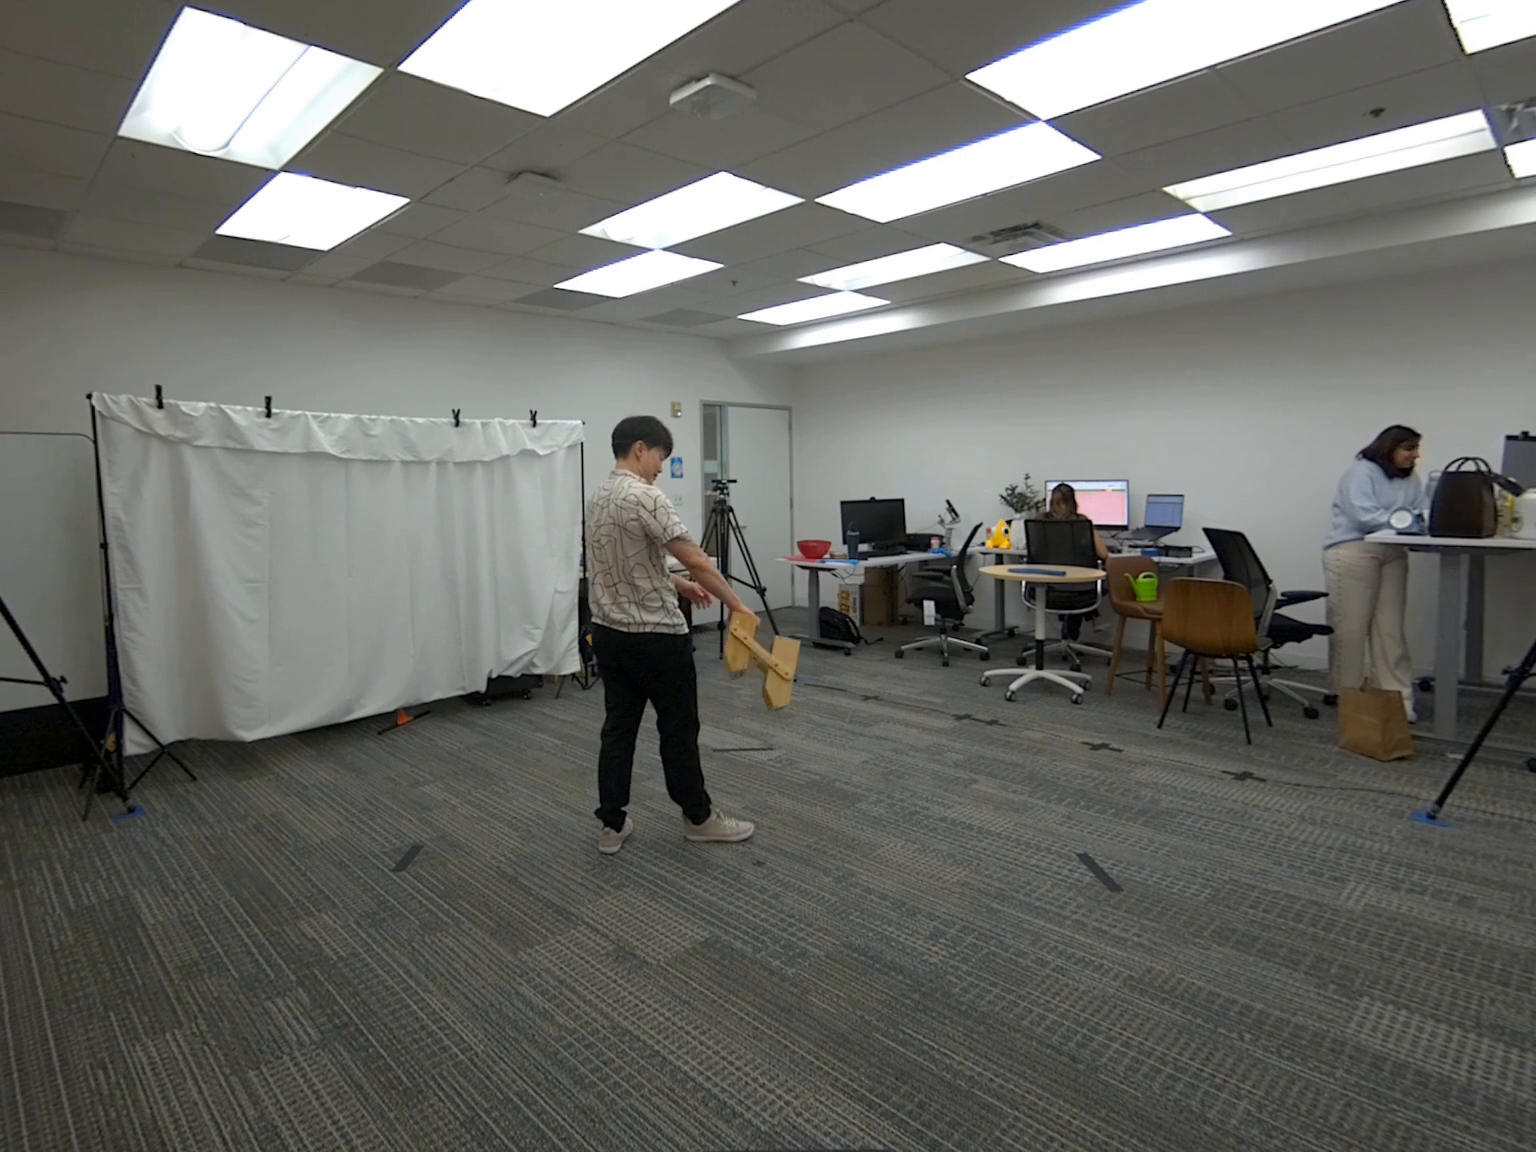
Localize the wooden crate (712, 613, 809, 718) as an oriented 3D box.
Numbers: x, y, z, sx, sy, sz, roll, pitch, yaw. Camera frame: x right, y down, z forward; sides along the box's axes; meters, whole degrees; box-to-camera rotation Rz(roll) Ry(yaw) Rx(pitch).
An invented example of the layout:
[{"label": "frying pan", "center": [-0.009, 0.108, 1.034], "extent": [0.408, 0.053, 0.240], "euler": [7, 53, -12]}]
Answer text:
[{"label": "wooden crate", "center": [-0.035, 0.331, 3.177], "extent": [0.274, 0.305, 0.320], "euler": [14, -13, 2]}]
